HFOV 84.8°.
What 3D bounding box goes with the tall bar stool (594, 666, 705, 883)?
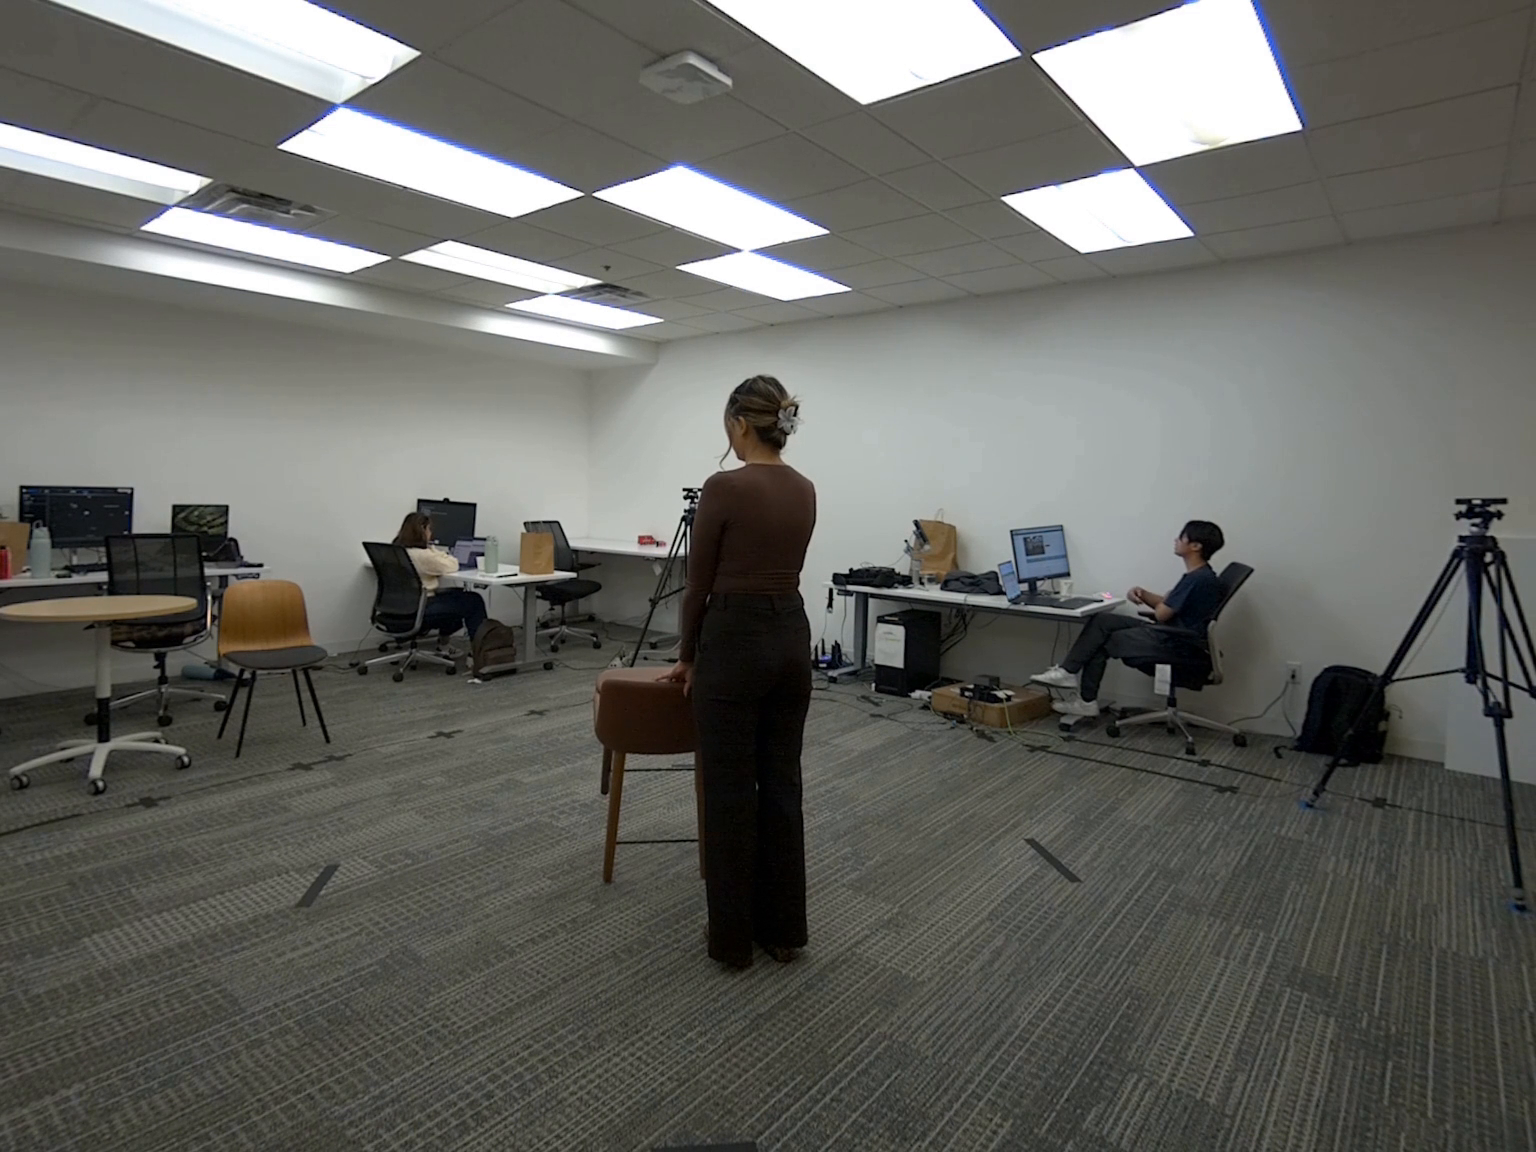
[{"bbox_3d":[-0.403,0.593,3.012,0.453,0.871,0.482,1,29,-9],"label":"tall bar stool"}]
